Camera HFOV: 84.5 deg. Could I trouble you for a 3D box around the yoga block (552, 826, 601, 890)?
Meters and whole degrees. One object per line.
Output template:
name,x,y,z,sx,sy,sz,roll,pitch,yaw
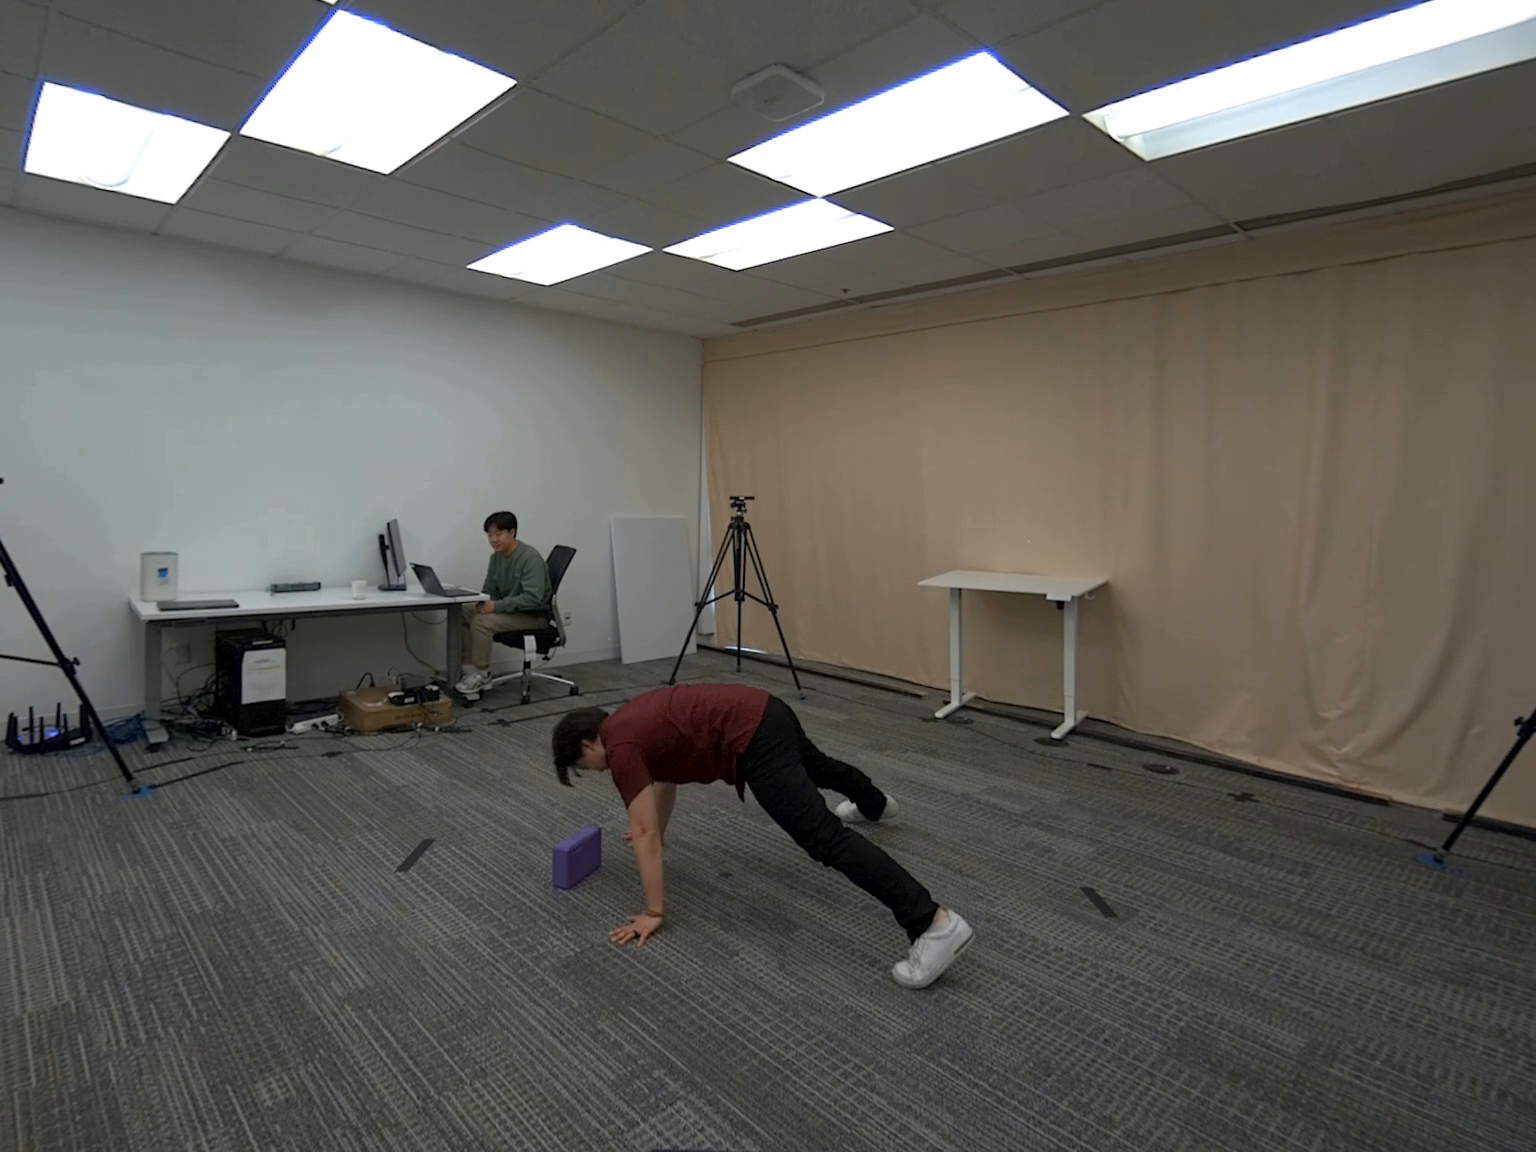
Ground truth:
yoga block,-0.698,1.019,3.064,0.077,0.149,0.226,1,4,19
